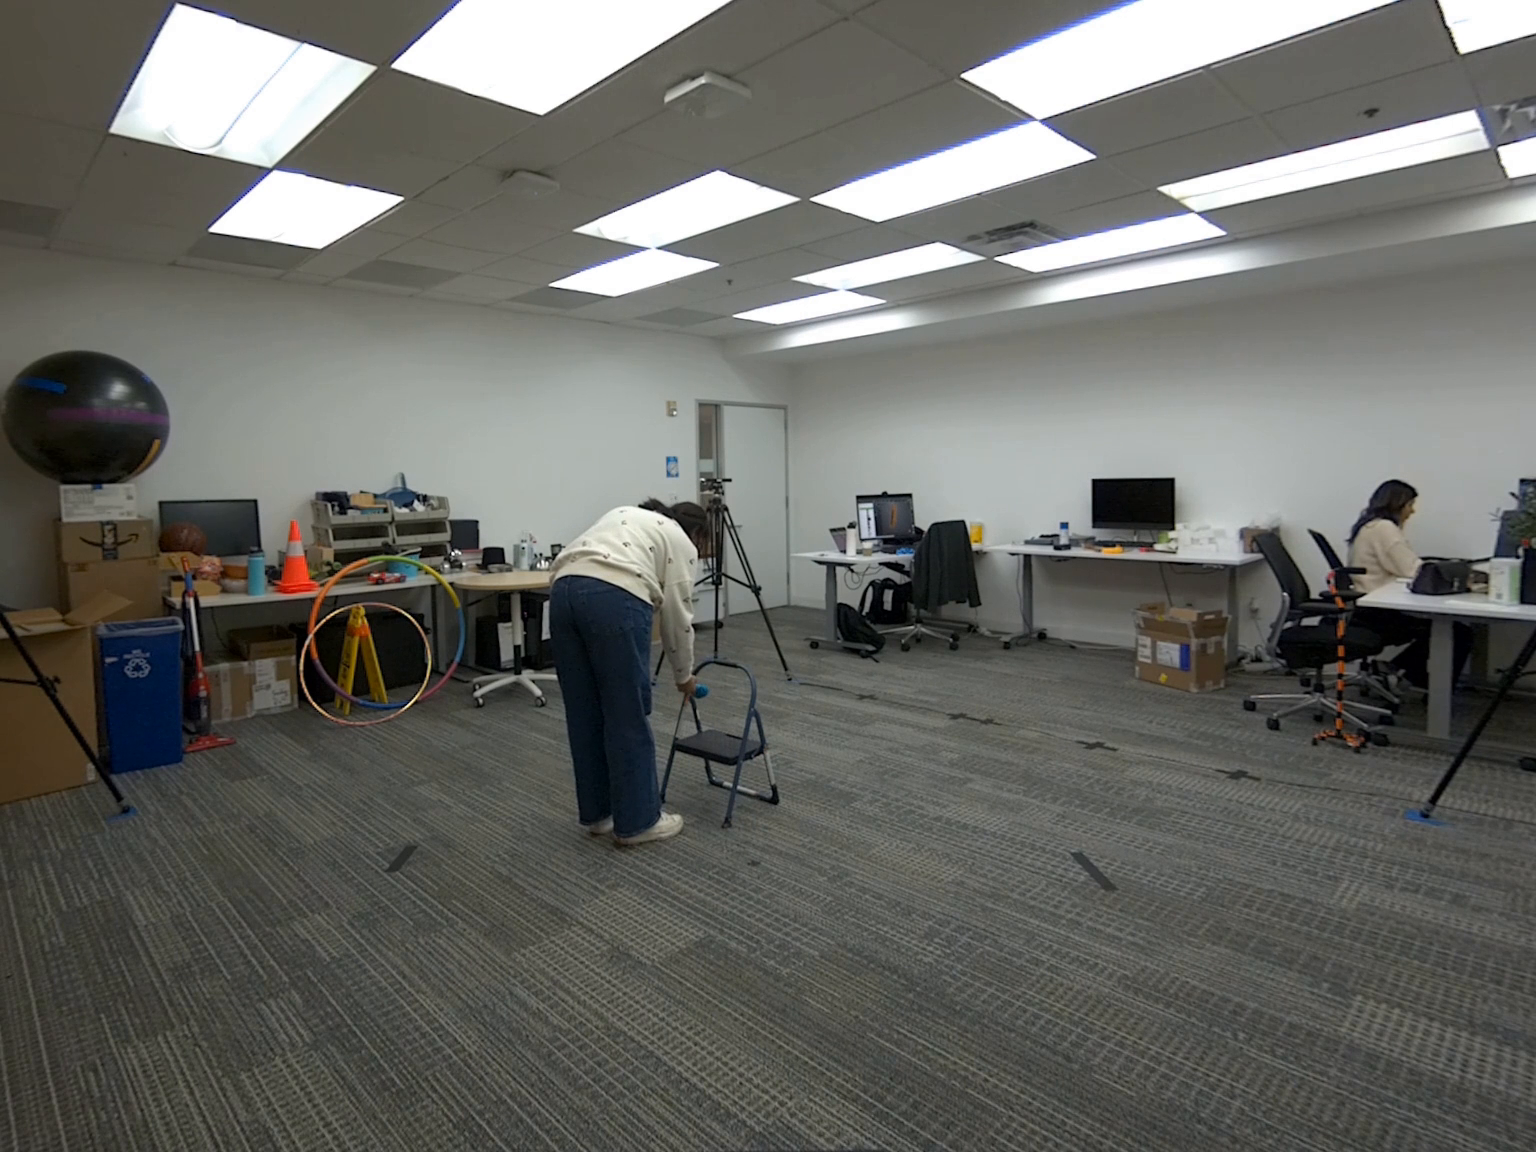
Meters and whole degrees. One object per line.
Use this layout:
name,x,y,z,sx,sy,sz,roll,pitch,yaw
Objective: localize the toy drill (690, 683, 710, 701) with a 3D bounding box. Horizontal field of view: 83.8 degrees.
toy drill,-0.338,0.487,3.716,0.143,0.062,0.171,27,-23,-17
